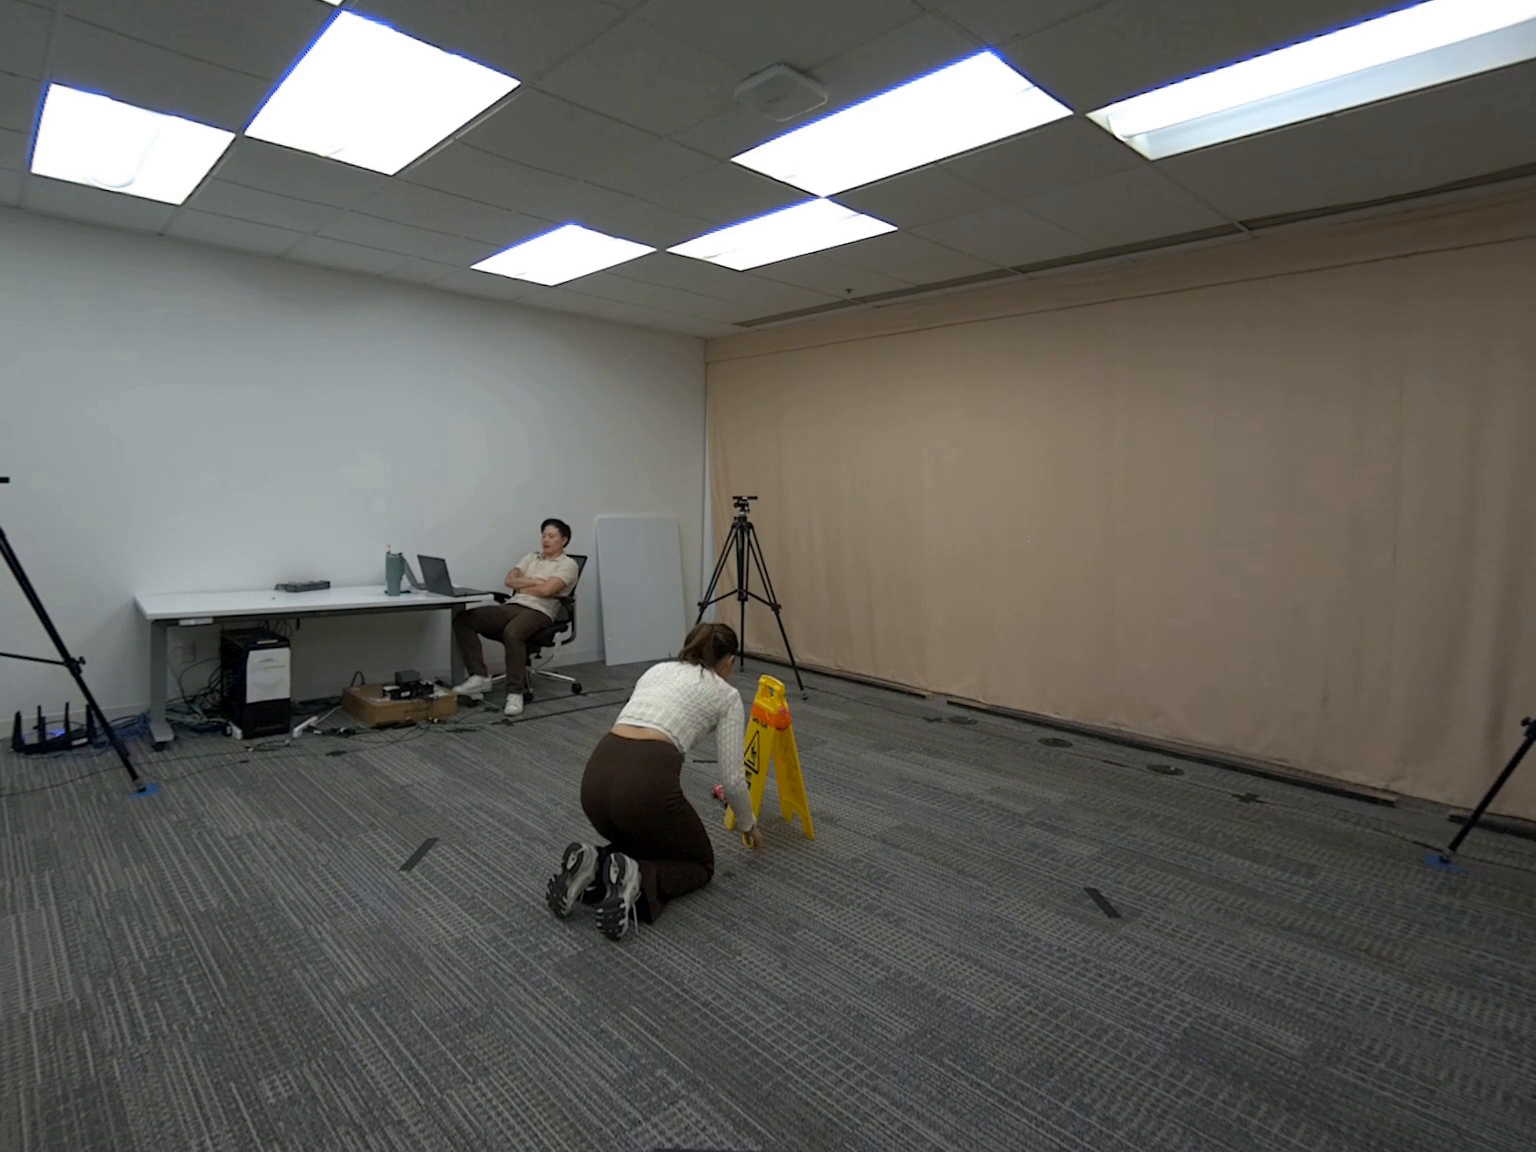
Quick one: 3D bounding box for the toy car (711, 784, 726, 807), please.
[{"bbox_3d":[-0.162,1.009,3.839,0.128,0.083,0.258,1,-6,-24],"label":"toy car"}]
